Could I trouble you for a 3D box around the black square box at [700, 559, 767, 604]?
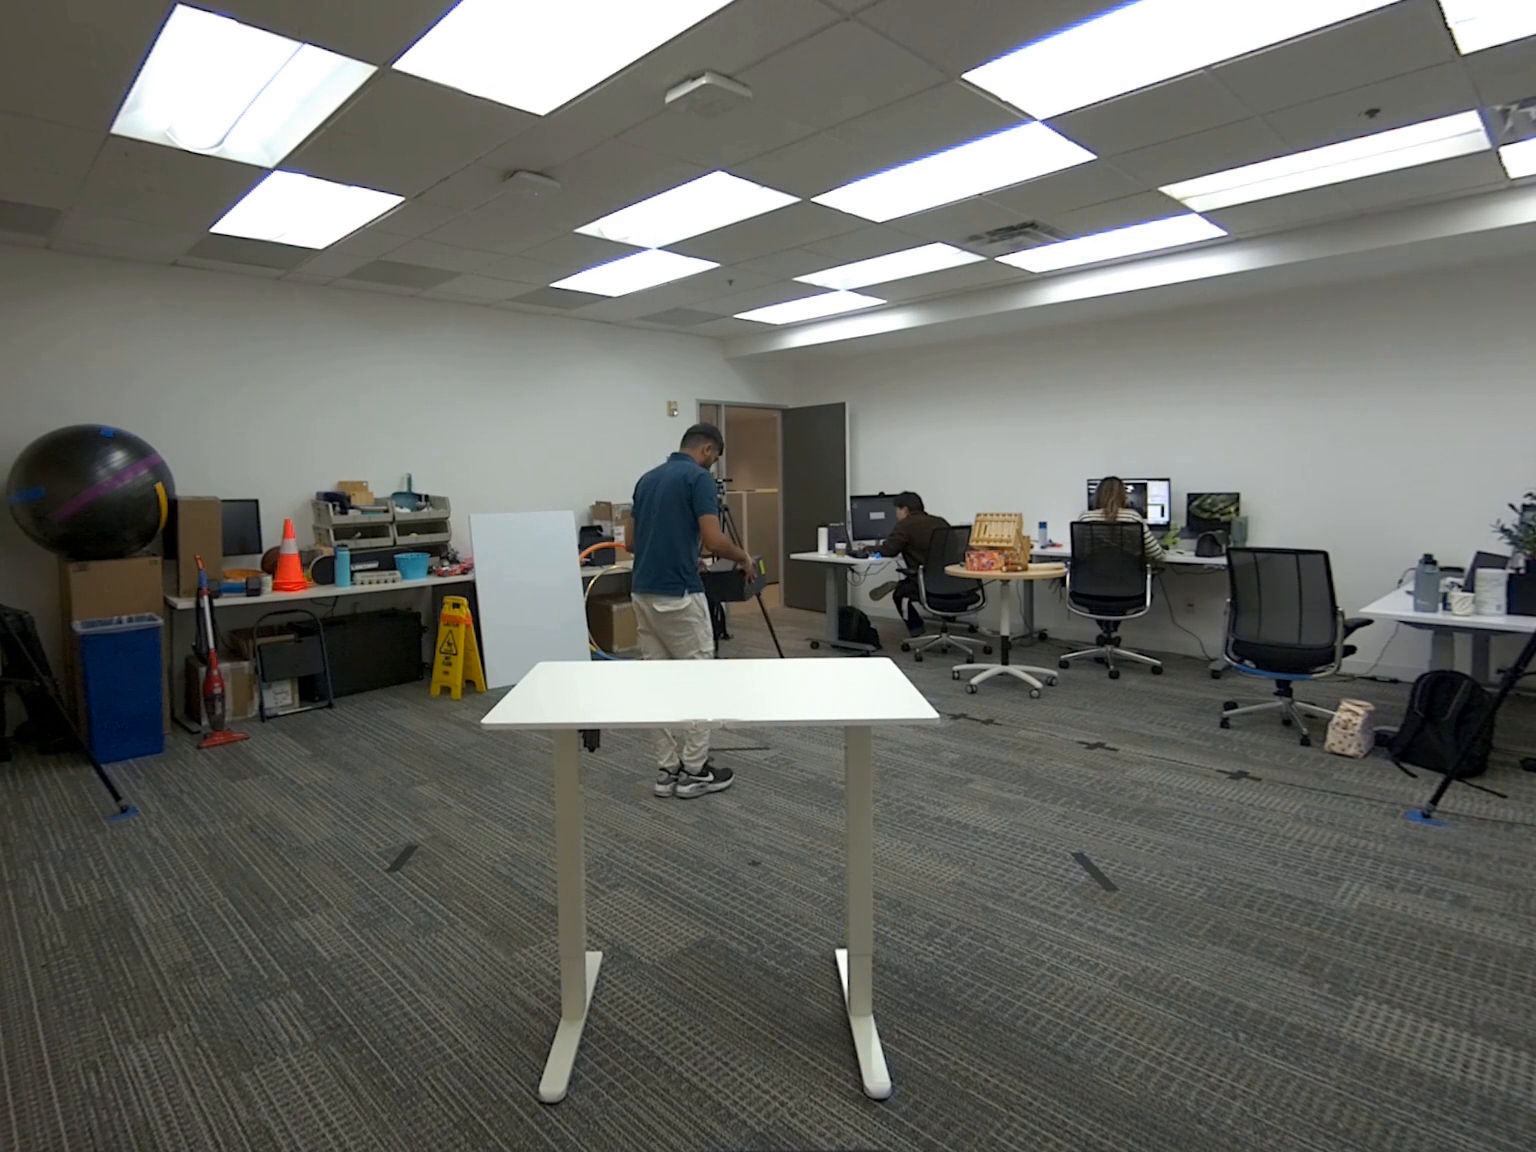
[{"bbox_3d":[-0.164,0.019,4.068,0.233,0.154,0.215,-4,14,29],"label":"black square box"}]
